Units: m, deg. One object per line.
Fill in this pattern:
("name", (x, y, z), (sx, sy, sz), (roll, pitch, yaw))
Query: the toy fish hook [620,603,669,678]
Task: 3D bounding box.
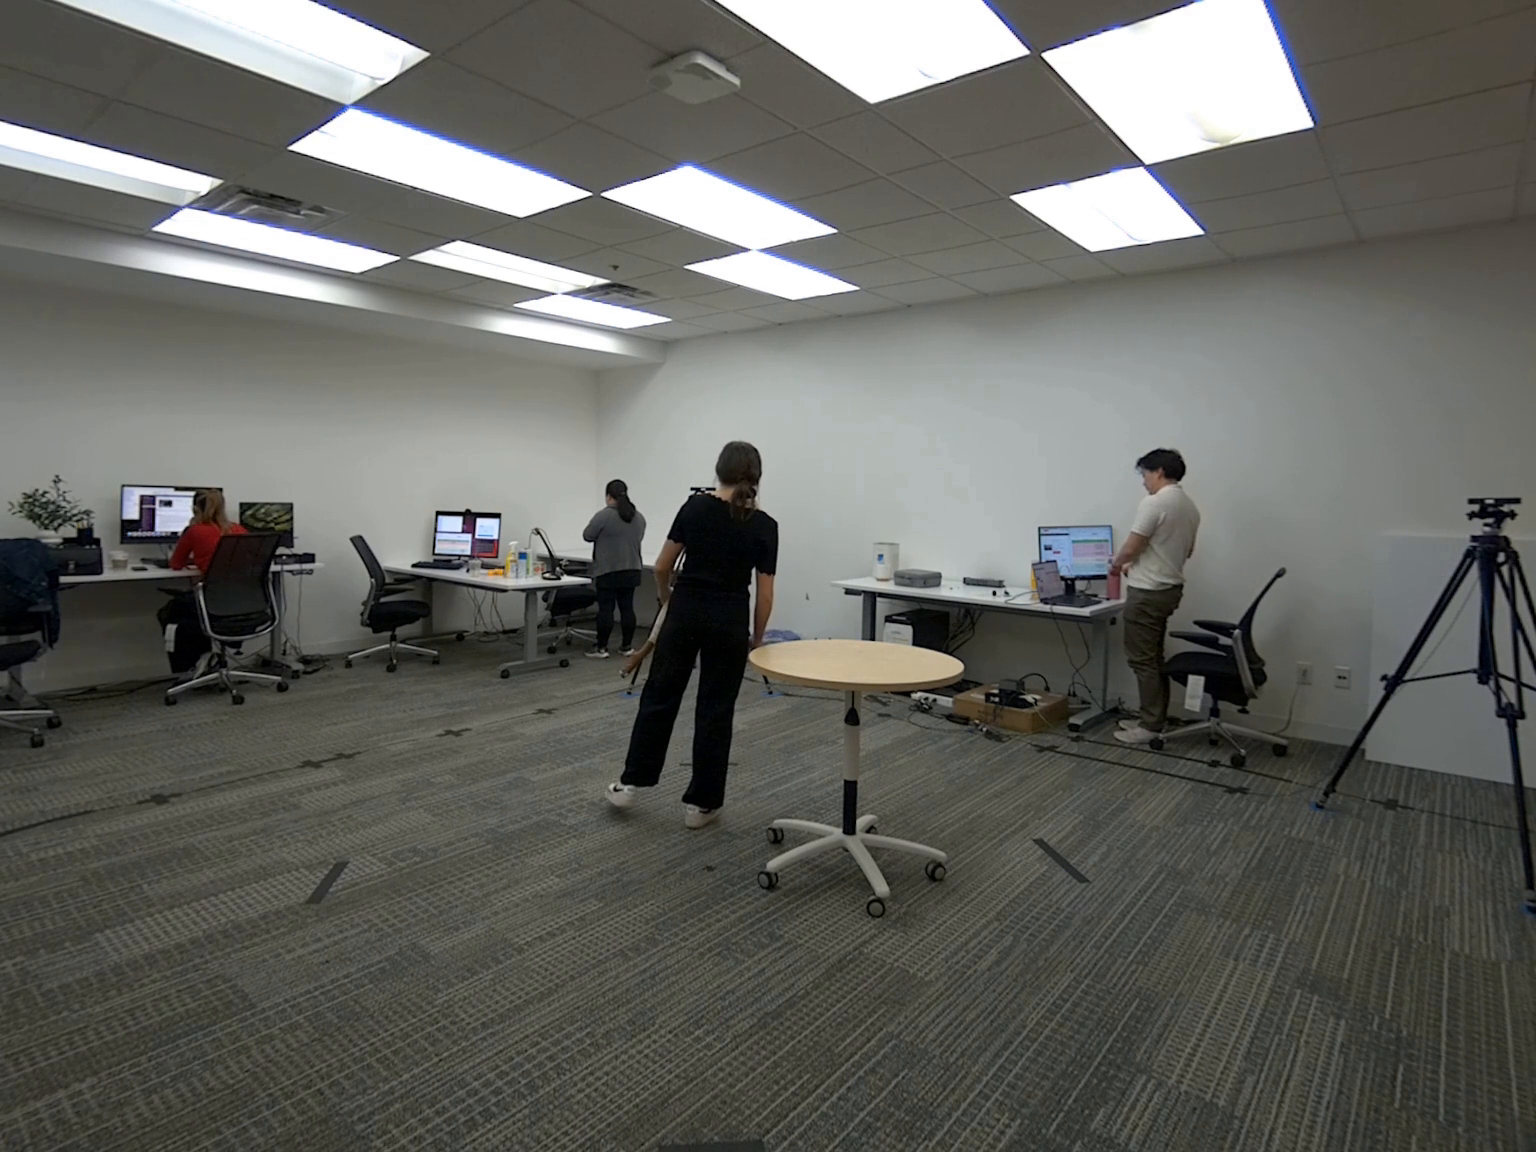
("toy fish hook", (-0.454, 0.273, 3.741), (0.231, 0.507, 0.047), (32, -14, 21))
